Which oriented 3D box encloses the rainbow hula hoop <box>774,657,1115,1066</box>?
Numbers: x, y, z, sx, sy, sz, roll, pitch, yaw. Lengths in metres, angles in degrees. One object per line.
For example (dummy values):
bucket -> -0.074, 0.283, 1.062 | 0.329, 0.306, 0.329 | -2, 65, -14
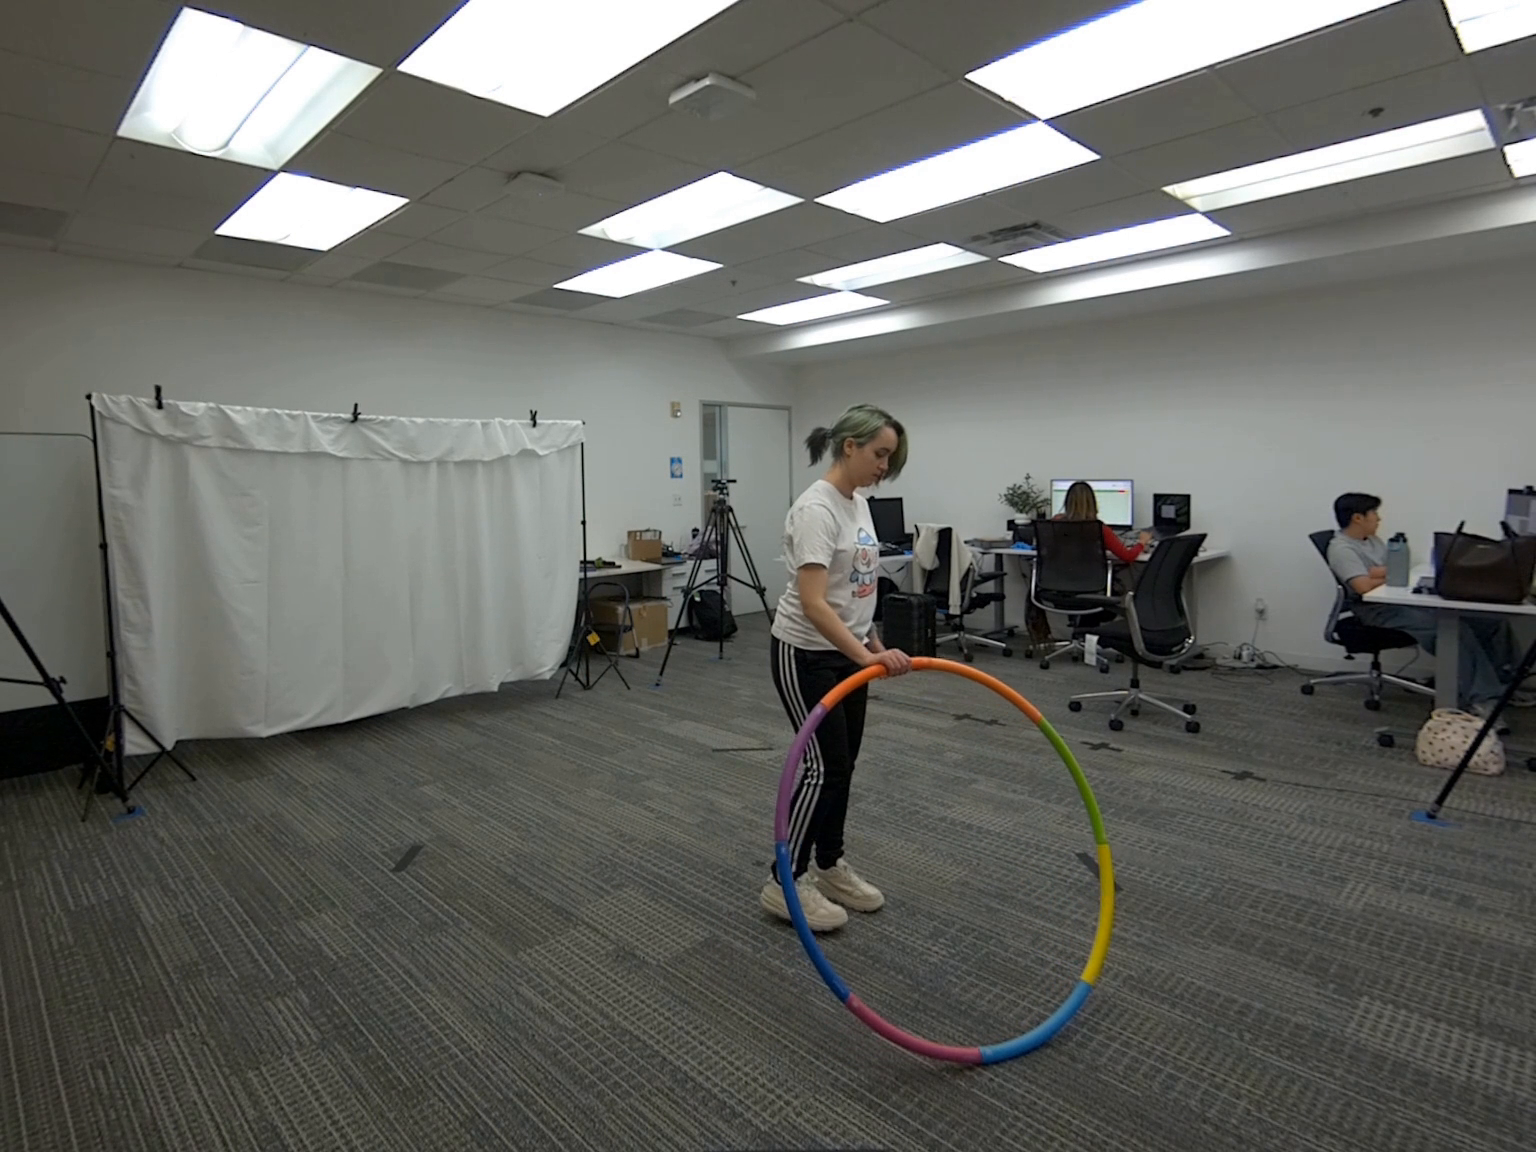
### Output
rainbow hula hoop -> 0.483, 0.693, 2.232 | 0.961, 1.000, 0.035 | -3, -23, -21
